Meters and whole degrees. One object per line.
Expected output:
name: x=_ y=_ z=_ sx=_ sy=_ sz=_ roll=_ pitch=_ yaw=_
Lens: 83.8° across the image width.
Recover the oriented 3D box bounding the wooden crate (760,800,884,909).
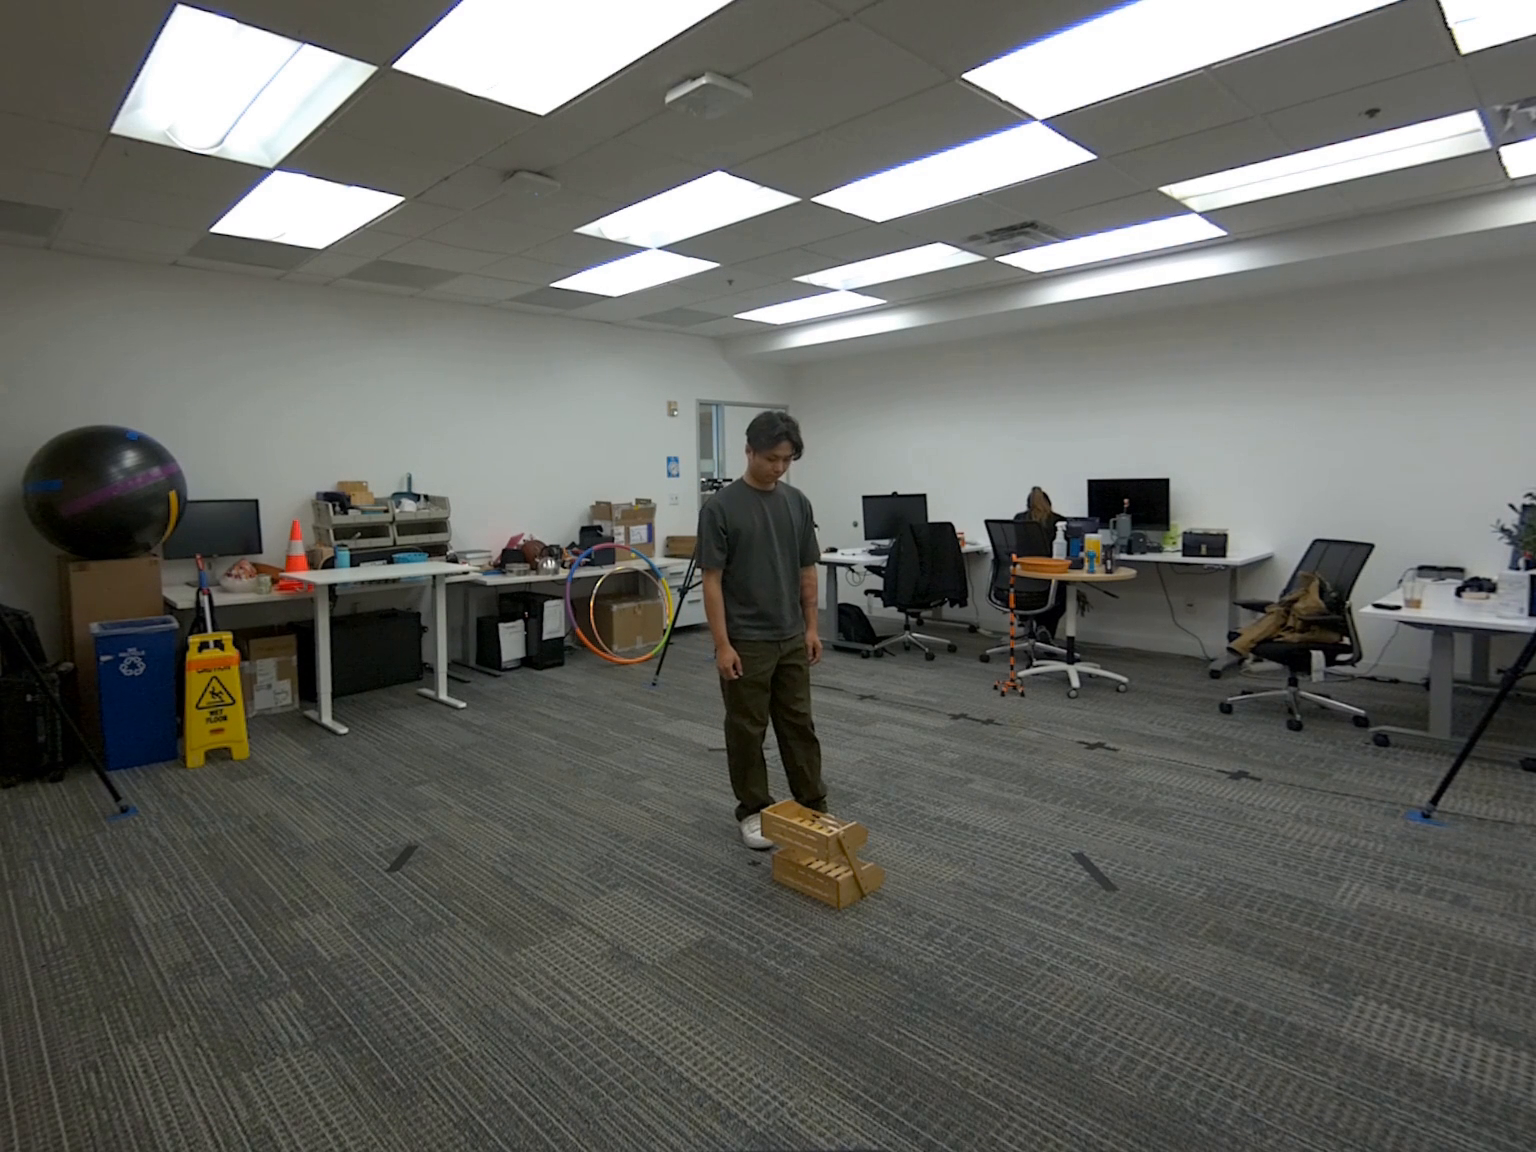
wooden crate: x=0.194 y=0.928 z=2.936 sx=0.294 sy=0.272 sz=0.334 roll=-6 pitch=7 yaw=-44
